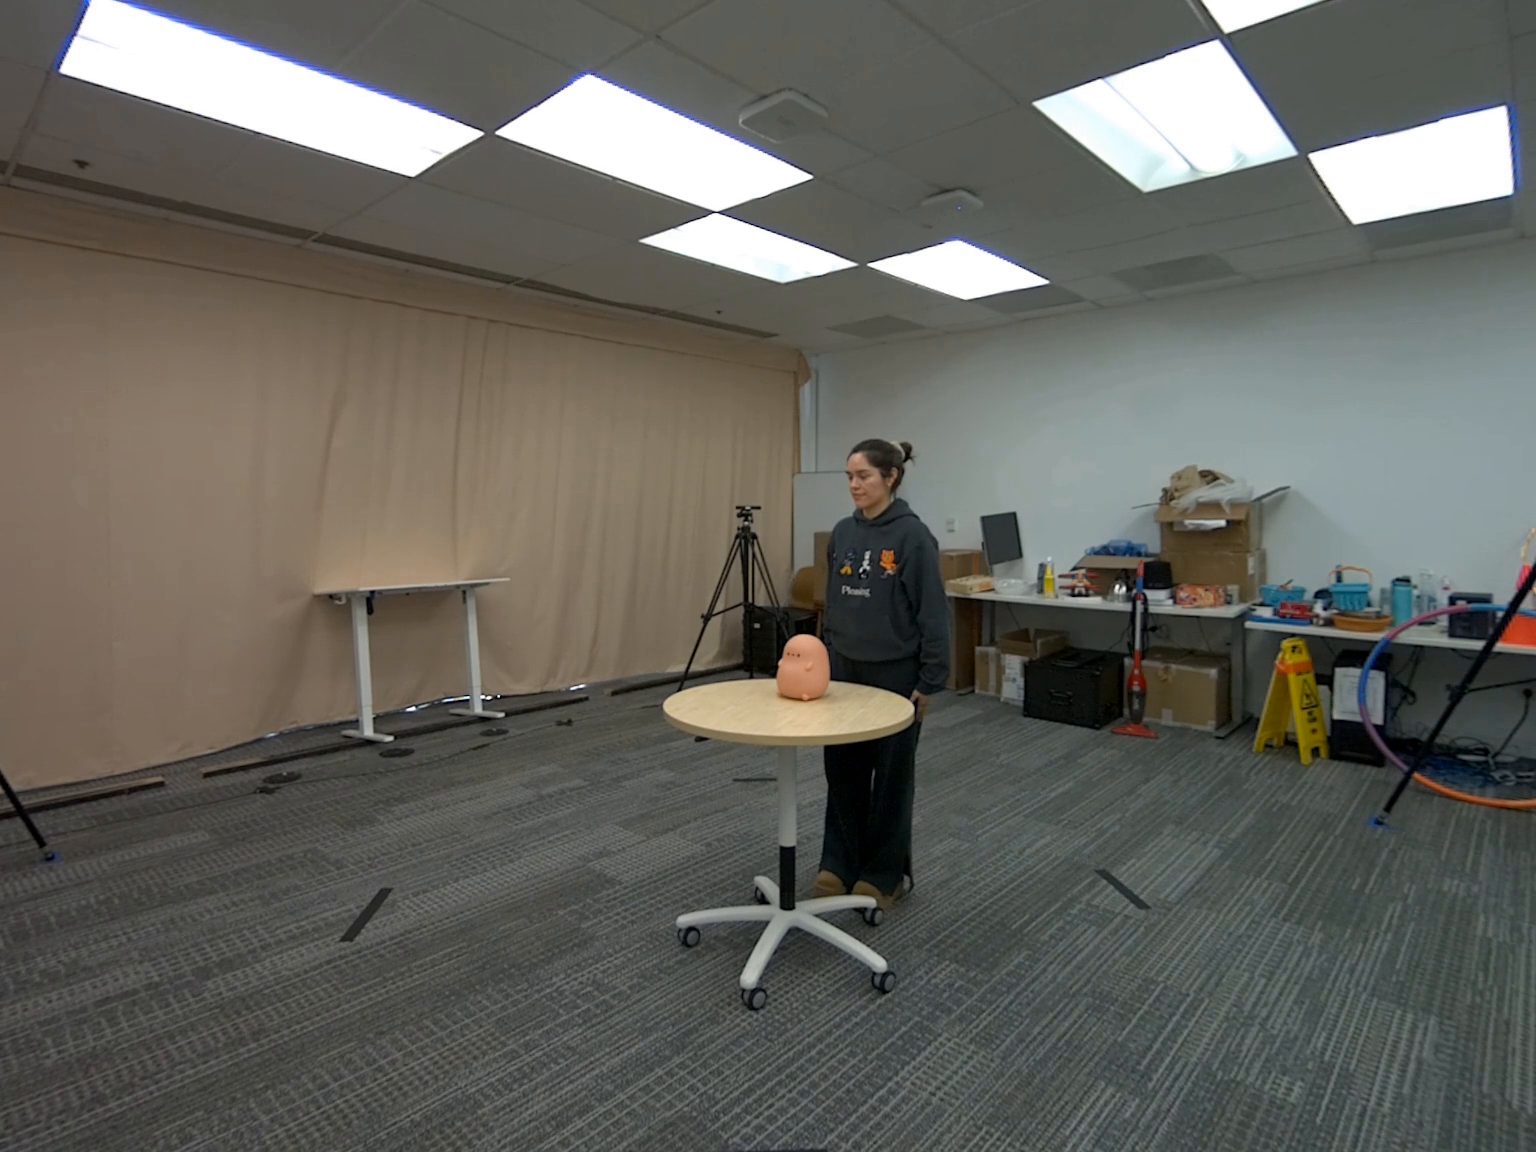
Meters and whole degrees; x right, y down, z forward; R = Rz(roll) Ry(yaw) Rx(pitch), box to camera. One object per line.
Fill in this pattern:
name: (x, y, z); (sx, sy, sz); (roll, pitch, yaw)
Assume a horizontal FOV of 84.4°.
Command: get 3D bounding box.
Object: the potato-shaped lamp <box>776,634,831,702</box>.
potato-shaped lamp: (0.124, 0.282, 2.682); (0.170, 0.198, 0.166); (3, 4, 36)
